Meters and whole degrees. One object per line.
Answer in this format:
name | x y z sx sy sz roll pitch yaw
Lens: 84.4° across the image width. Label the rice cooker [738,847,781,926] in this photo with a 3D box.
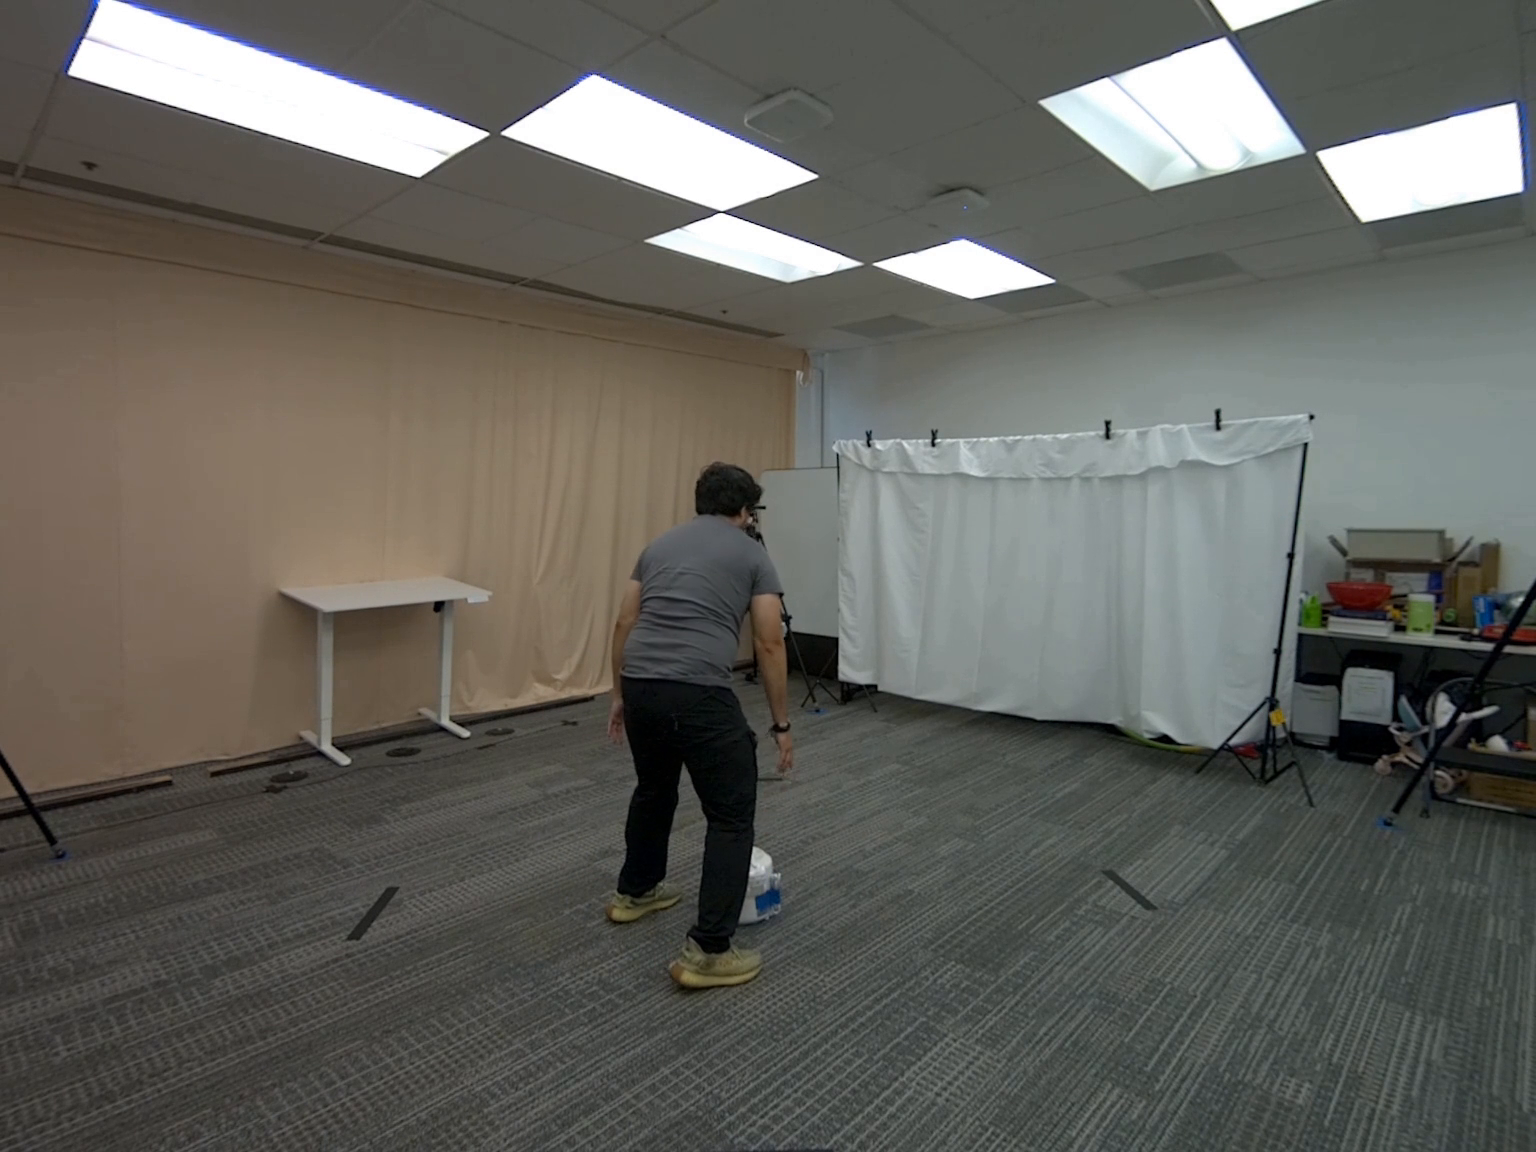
rice cooker | -0.083 1.042 2.865 0.212 0.232 0.226 -1 3 -28
